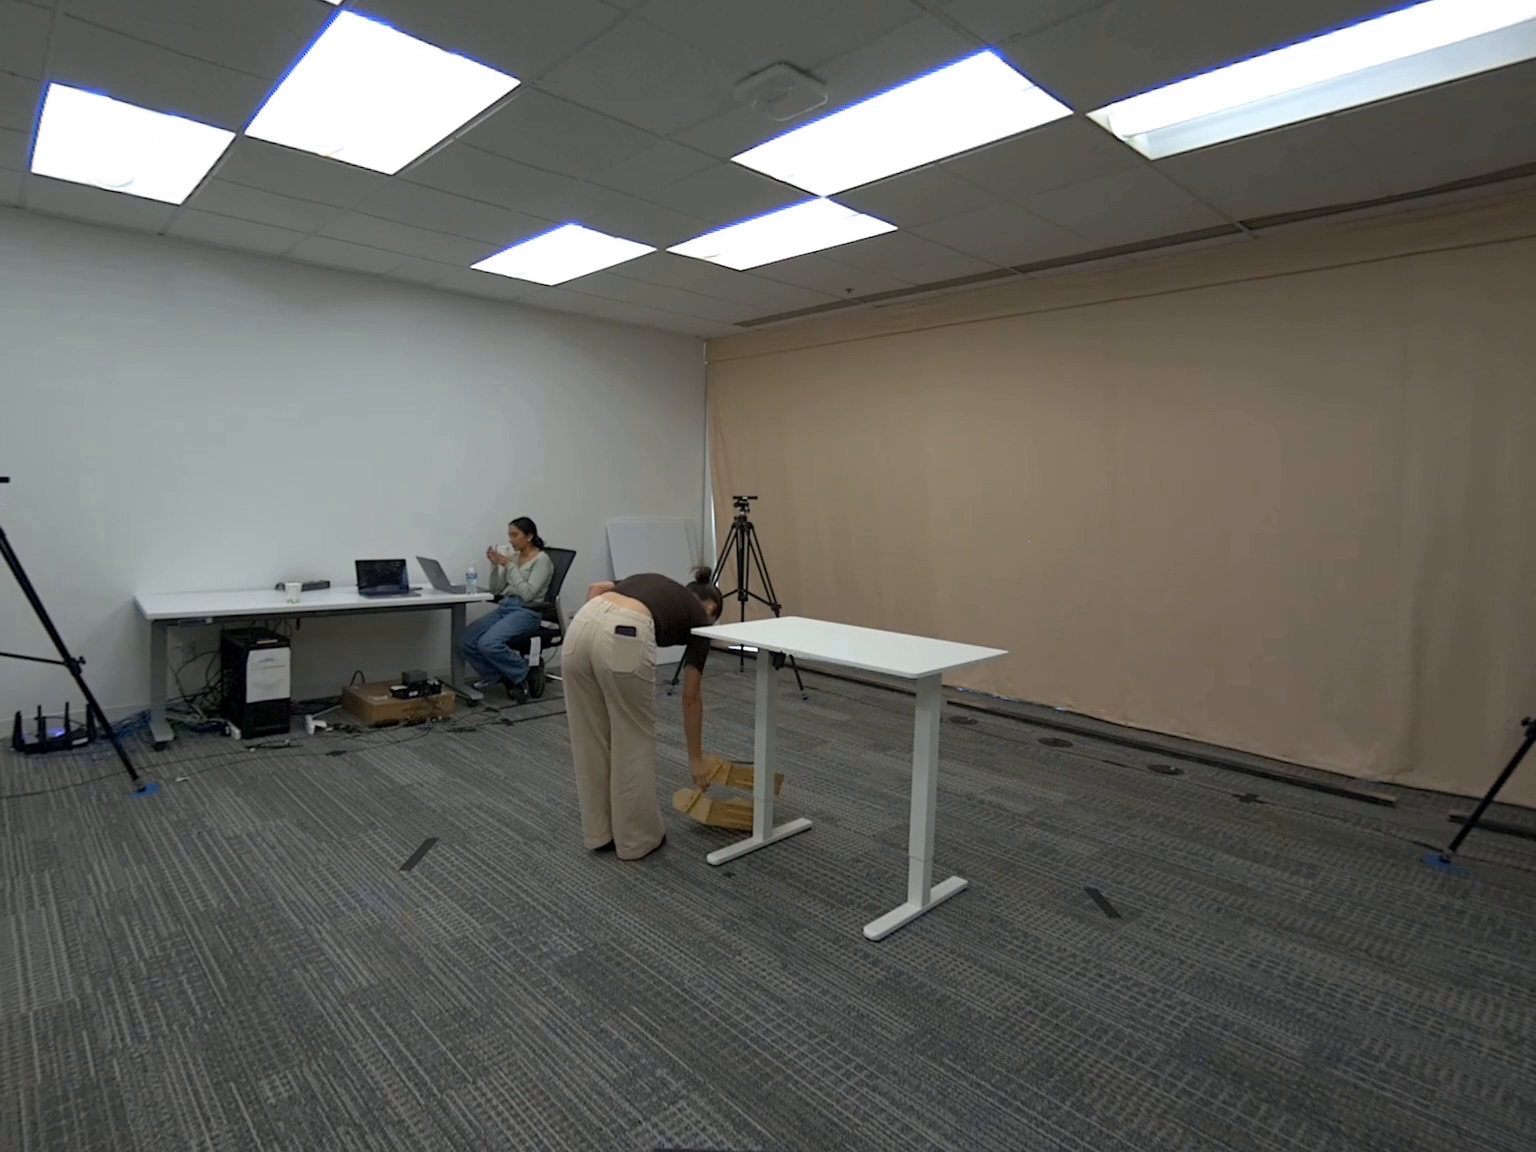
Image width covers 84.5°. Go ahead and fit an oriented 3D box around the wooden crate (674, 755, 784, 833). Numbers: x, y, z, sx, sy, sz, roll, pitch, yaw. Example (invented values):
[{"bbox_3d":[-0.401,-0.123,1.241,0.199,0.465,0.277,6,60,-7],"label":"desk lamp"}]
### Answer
[{"bbox_3d":[-0.177,0.891,3.526,0.315,0.274,0.310,23,-10,-39],"label":"wooden crate"}]
